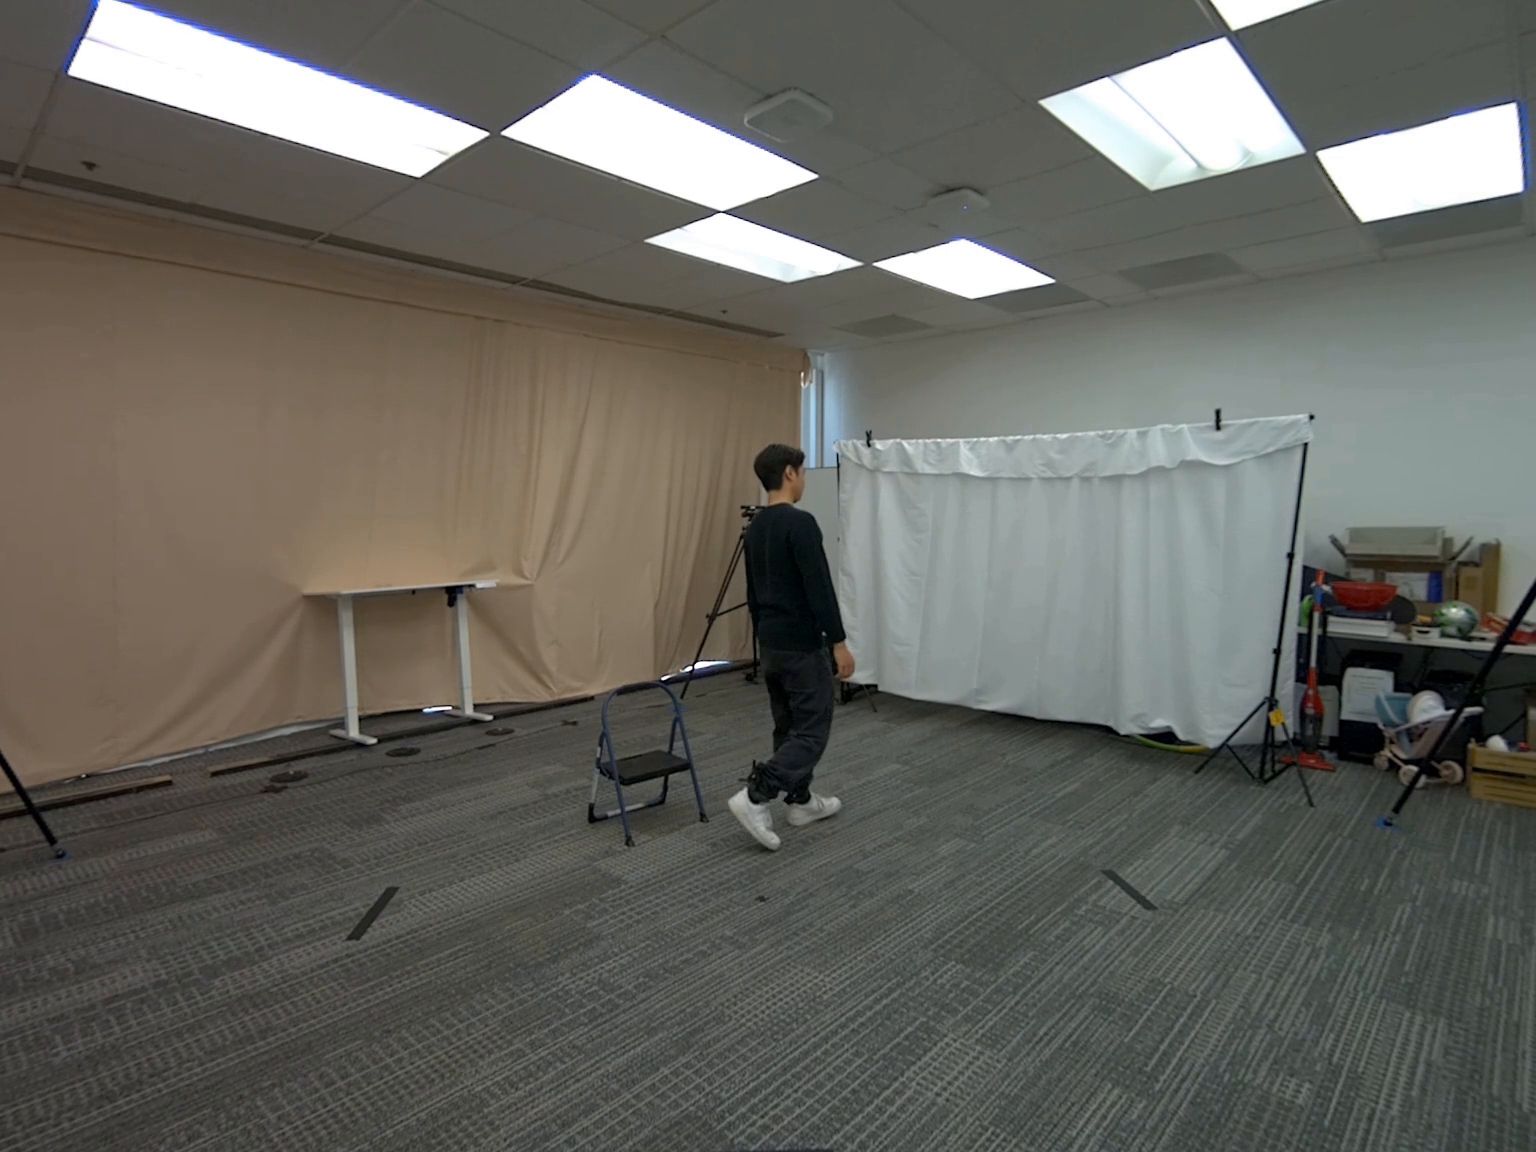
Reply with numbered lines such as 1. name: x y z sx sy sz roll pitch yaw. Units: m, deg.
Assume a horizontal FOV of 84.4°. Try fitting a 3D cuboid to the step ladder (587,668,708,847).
1. step ladder: -0.535 0.789 3.715 0.417 0.605 0.361 -3 4 -41
